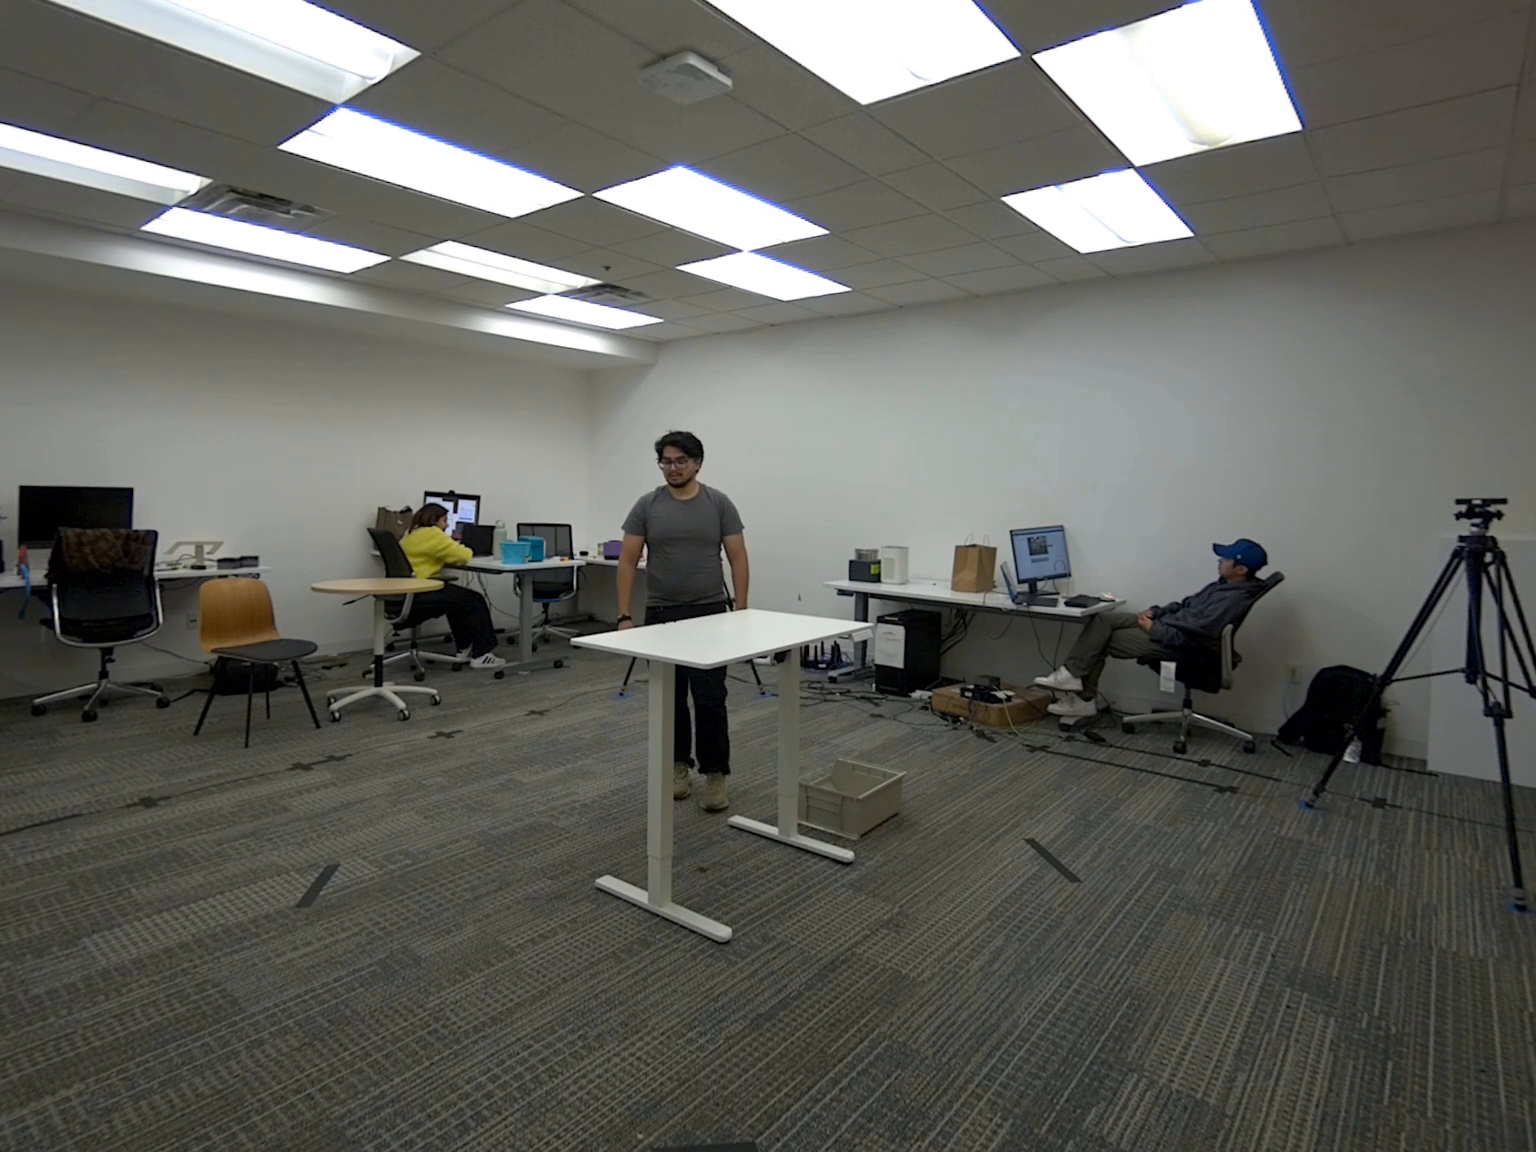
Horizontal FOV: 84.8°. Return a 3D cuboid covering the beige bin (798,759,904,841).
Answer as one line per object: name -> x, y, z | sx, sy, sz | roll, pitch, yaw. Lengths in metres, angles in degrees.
beige bin -> 0.319, 0.940, 3.659 | 0.390, 0.188, 0.410 | 6, 7, 36
